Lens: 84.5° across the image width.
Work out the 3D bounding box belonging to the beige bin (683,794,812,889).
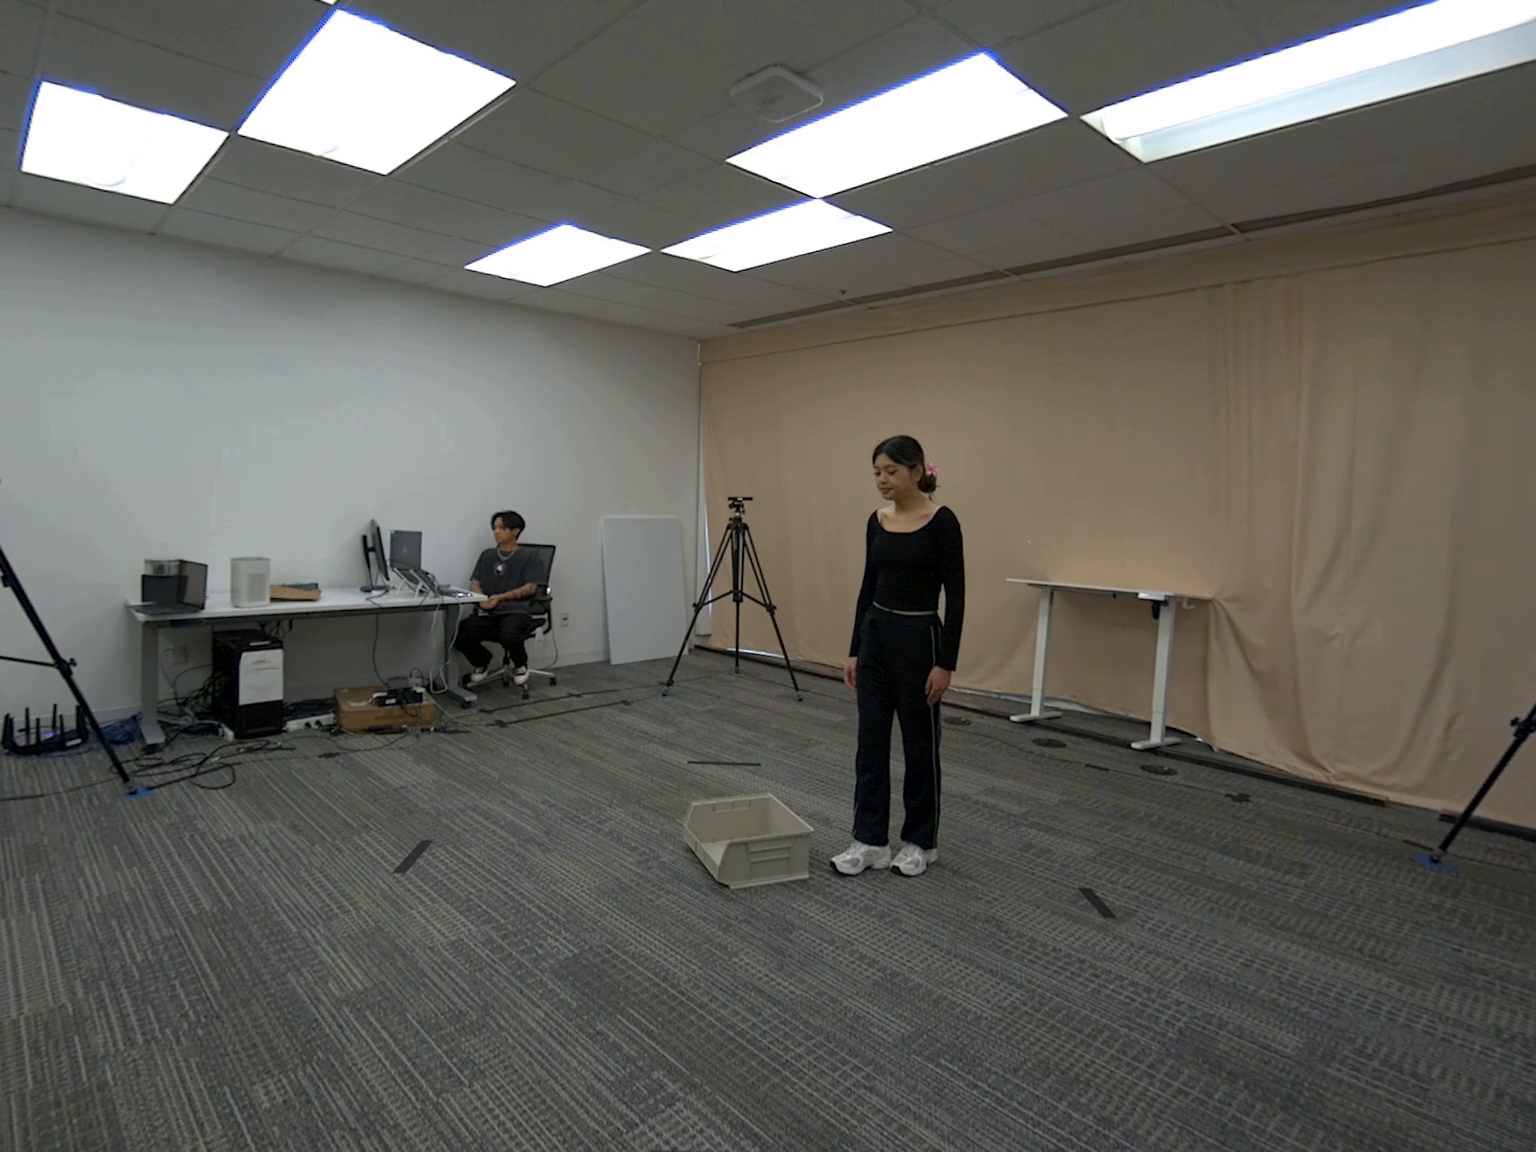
[{"bbox_3d":[-0.091,1.010,3.228,0.371,0.188,0.430,0,4,-22],"label":"beige bin"}]
